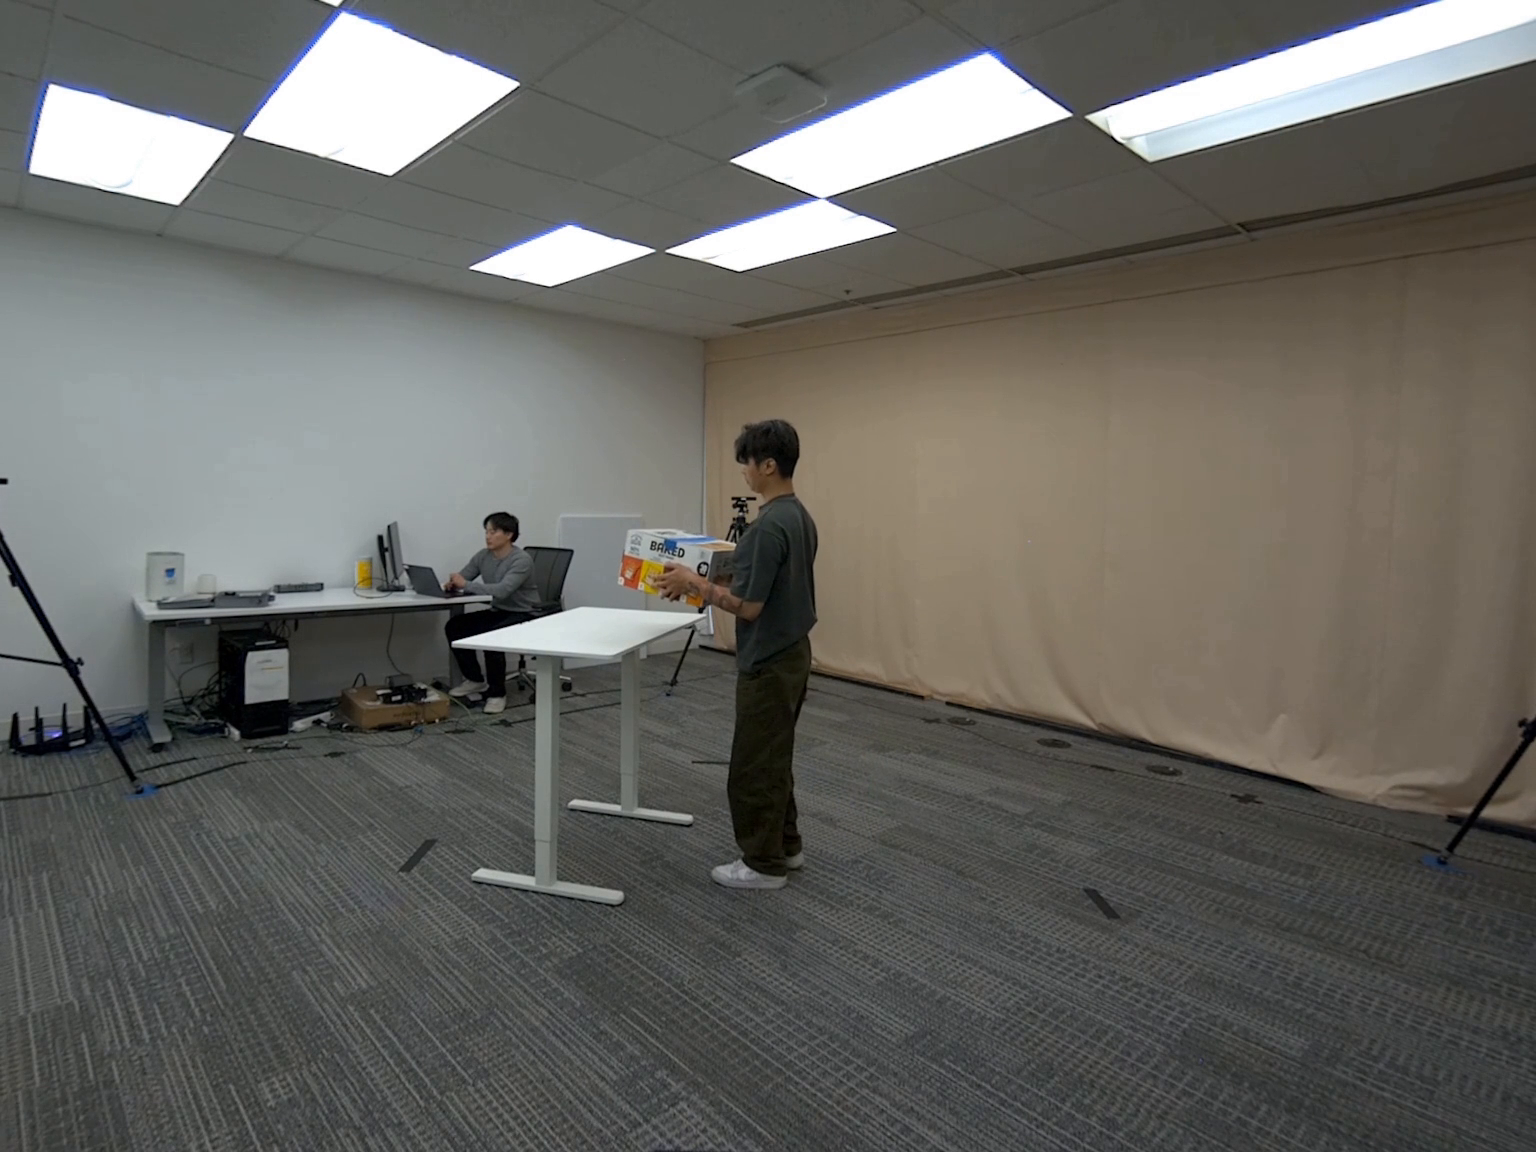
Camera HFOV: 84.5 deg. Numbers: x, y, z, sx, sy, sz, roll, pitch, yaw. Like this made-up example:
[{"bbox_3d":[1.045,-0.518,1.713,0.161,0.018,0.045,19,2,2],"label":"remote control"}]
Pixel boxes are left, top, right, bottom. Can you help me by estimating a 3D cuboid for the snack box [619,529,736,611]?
[{"bbox_3d":[-0.299,-0.041,3.134,0.347,0.205,0.399,15,8,19],"label":"snack box"}]
